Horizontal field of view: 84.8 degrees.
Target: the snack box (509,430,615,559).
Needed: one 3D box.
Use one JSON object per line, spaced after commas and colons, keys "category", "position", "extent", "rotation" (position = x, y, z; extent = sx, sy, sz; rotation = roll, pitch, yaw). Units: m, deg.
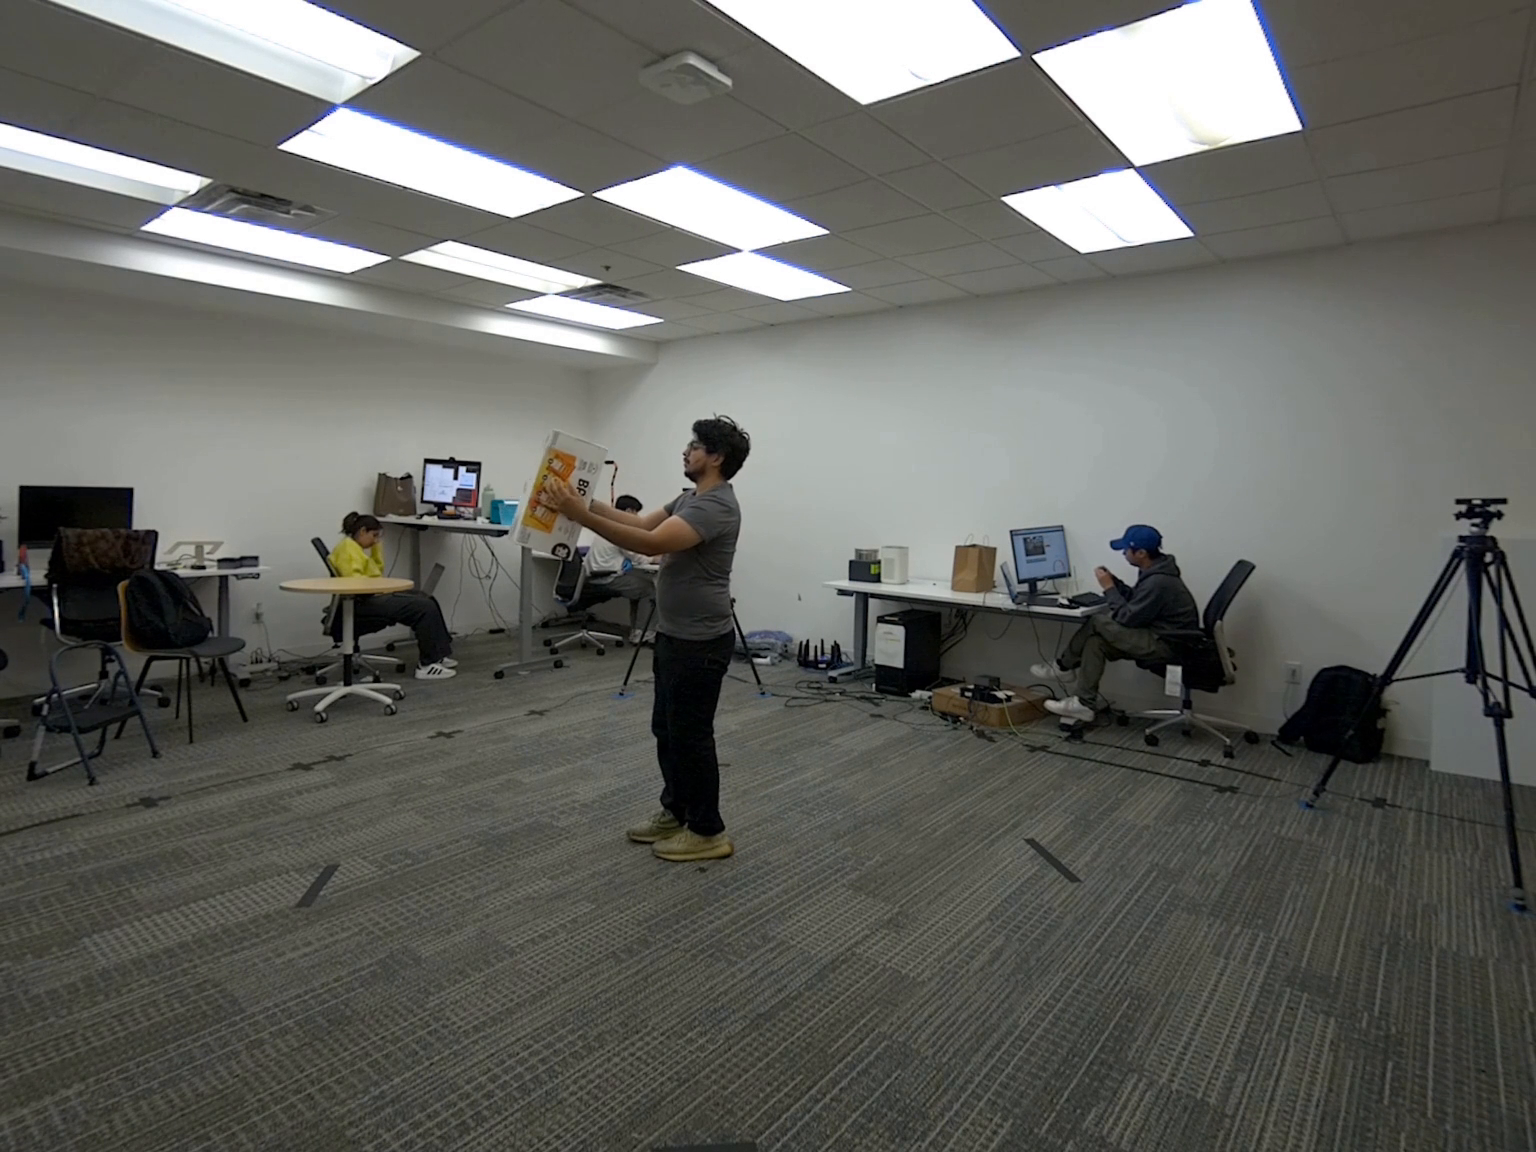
{"category": "snack box", "position": [-0.770, -0.296, 3.034], "extent": [0.201, 0.405, 0.348], "rotation": [19, 0, -20]}
